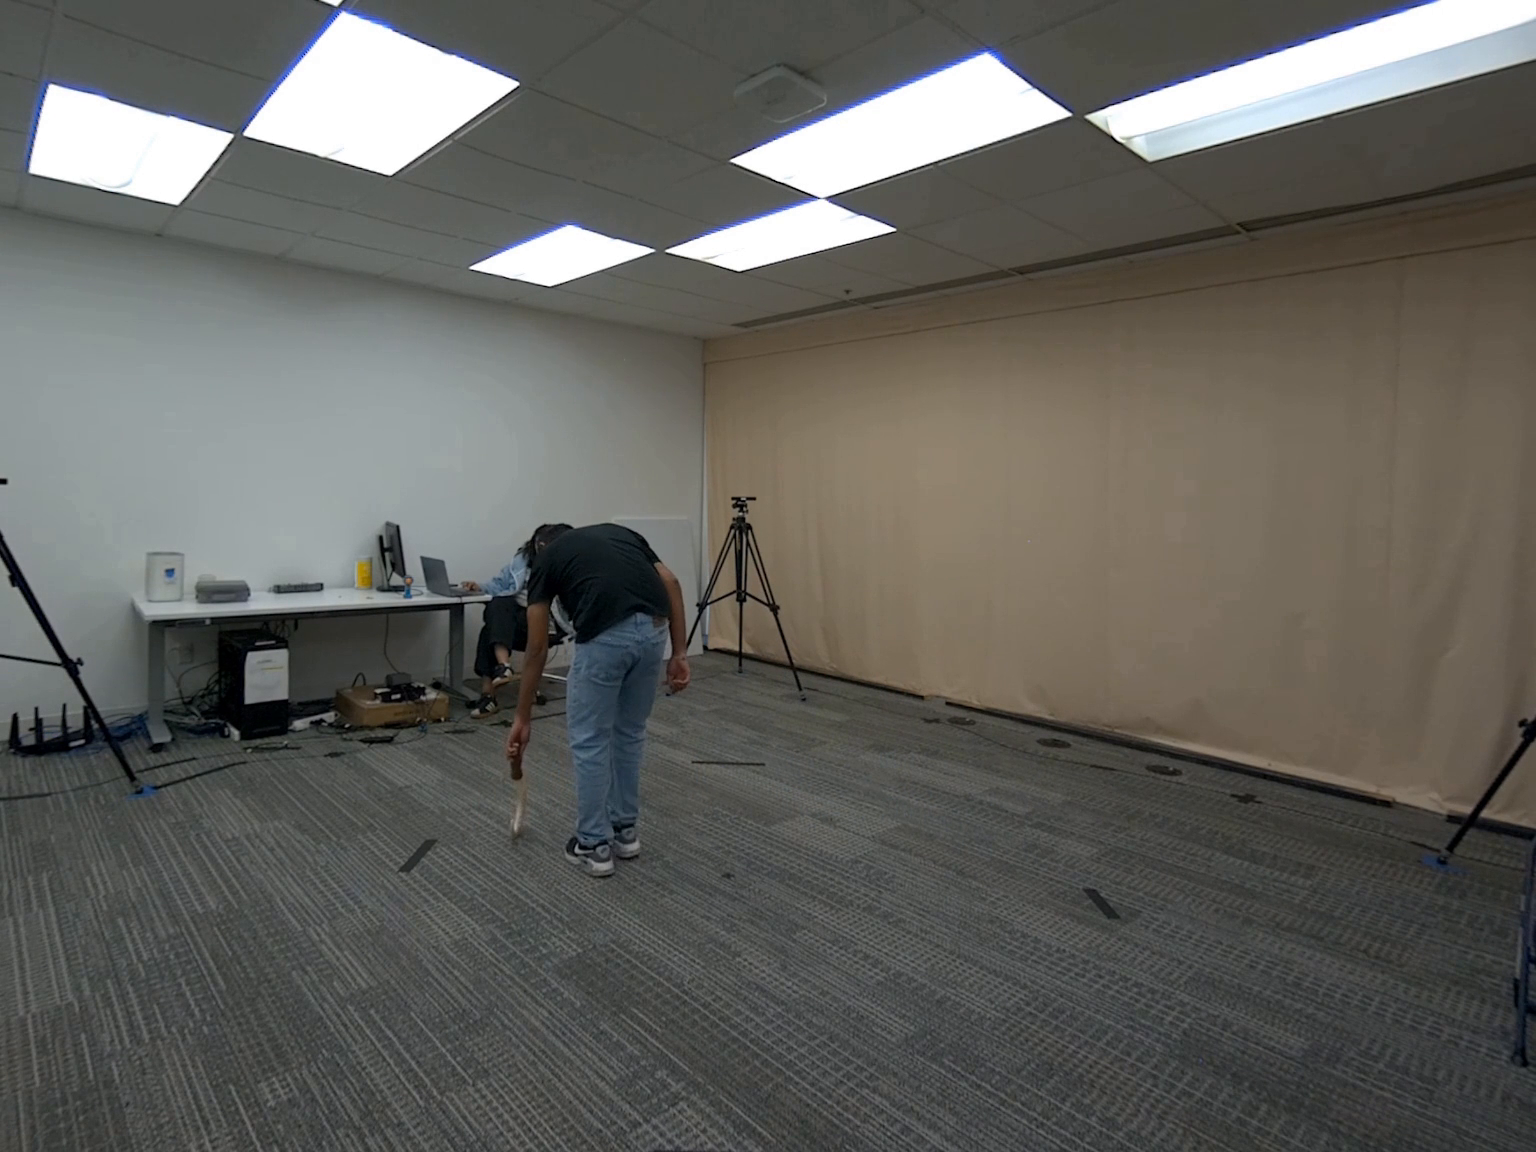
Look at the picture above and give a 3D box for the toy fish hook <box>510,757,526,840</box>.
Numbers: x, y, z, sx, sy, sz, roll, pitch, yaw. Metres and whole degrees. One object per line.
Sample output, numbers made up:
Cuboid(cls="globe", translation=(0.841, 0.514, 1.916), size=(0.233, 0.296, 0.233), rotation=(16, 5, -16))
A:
Cuboid(cls="toy fish hook", translation=(-0.988, 0.849, 3.289), size=(0.048, 0.498, 0.230), rotation=(3, 43, -10))
